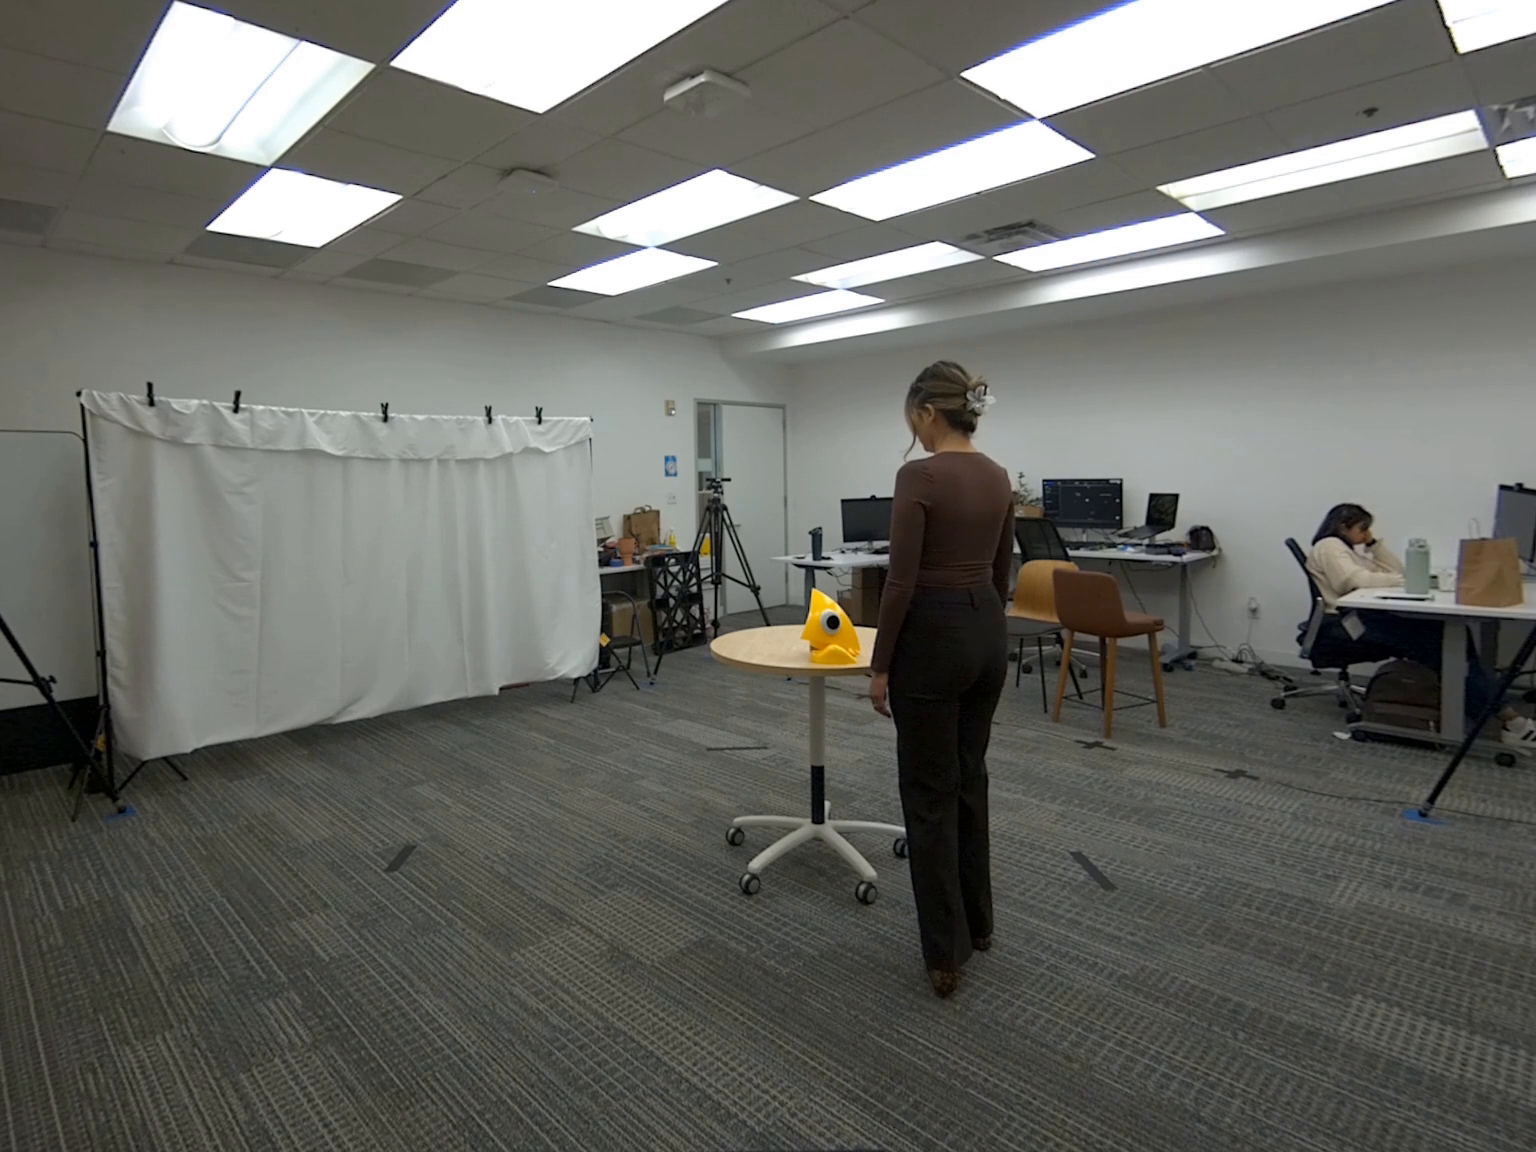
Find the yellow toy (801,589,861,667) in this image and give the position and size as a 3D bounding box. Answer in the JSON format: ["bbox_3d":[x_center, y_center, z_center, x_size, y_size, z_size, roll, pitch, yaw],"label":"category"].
[{"bbox_3d":[0.210,0.155,2.838,0.195,0.230,0.203,-1,5,12],"label":"yellow toy"}]
